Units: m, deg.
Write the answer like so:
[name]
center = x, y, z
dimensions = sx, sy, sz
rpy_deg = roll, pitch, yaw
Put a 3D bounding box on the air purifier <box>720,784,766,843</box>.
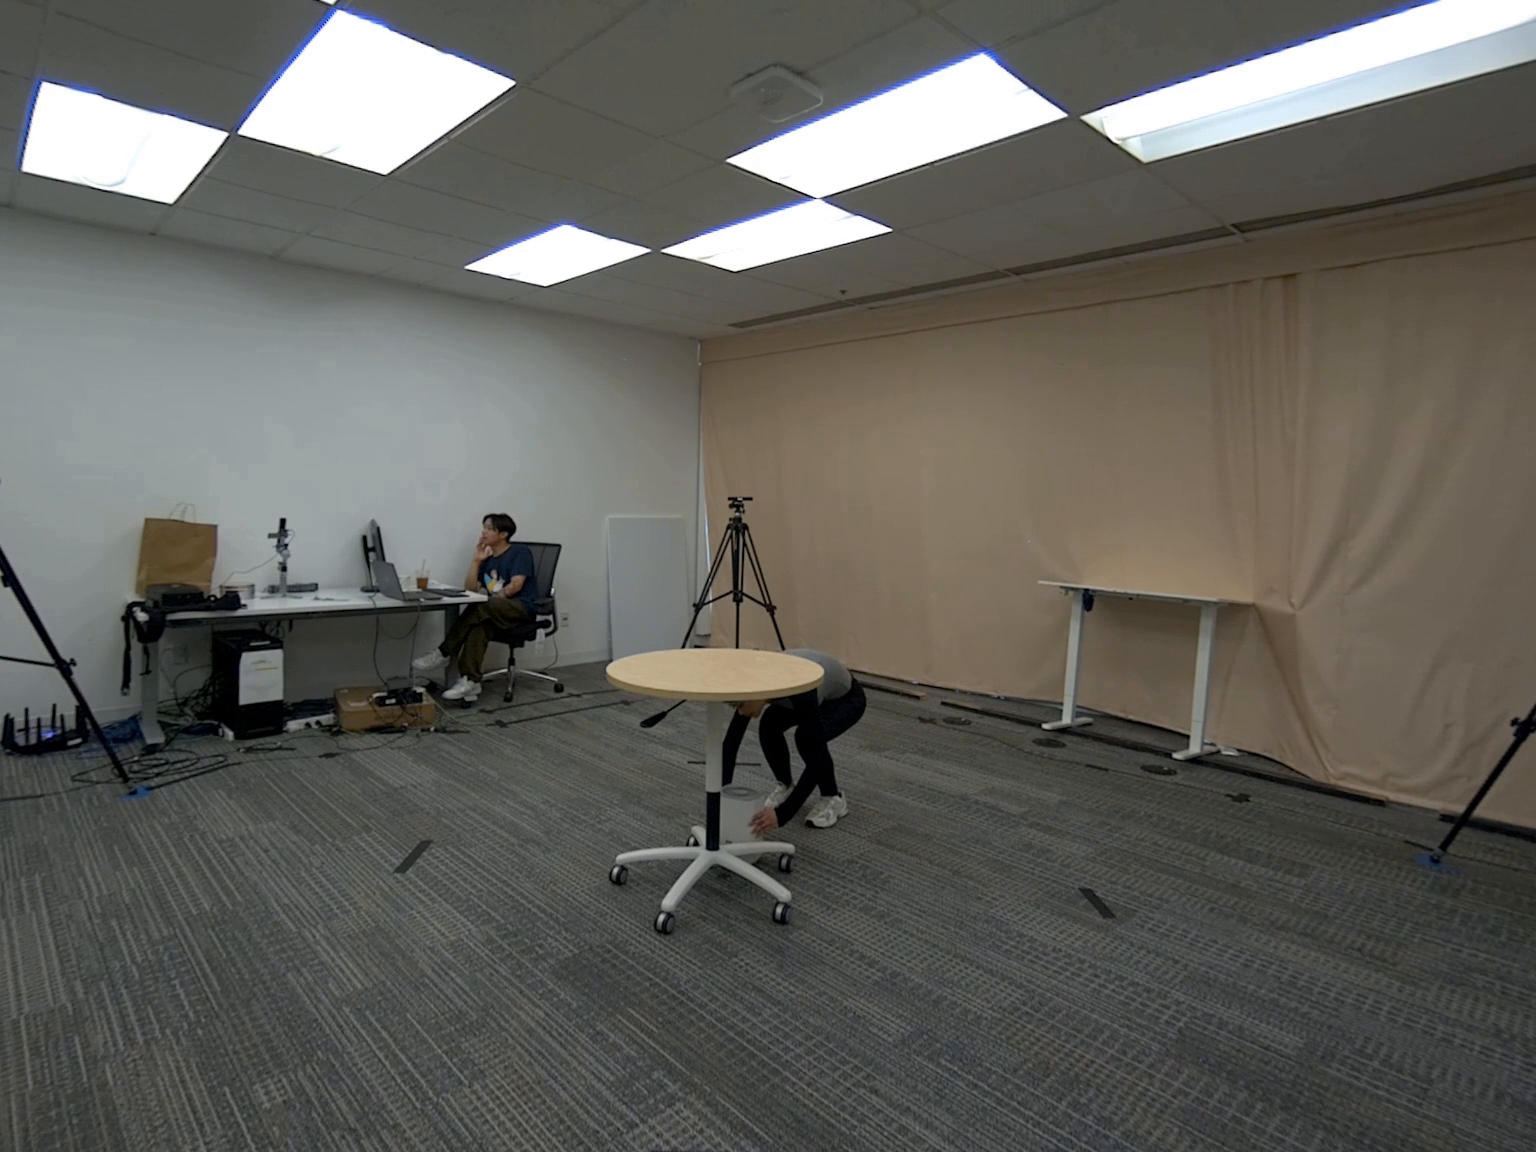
[air purifier]
center = -0.118, 0.963, 3.246
dimensions = 0.174, 0.265, 0.168
rpy_deg = 4, 3, 26
